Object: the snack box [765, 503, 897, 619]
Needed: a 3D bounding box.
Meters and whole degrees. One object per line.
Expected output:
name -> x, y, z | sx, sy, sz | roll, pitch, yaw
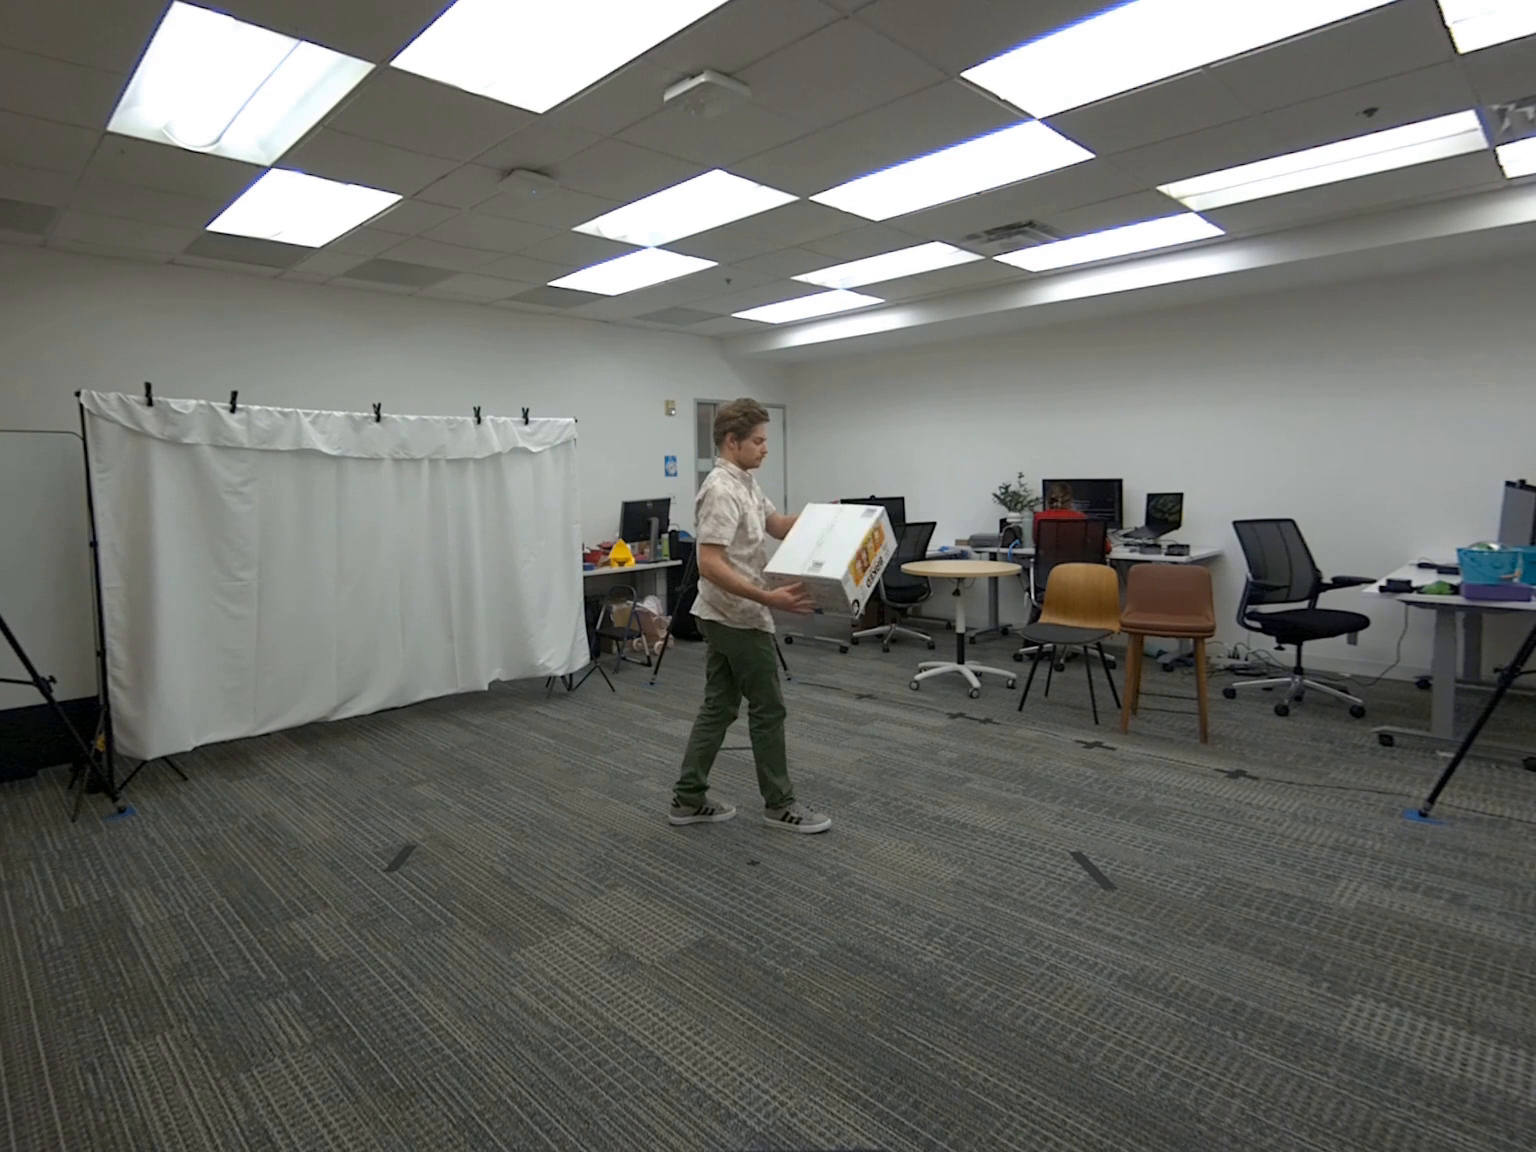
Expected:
snack box -> 0.237, -0.068, 3.259 | 0.350, 0.199, 0.407 | 5, 46, 36
